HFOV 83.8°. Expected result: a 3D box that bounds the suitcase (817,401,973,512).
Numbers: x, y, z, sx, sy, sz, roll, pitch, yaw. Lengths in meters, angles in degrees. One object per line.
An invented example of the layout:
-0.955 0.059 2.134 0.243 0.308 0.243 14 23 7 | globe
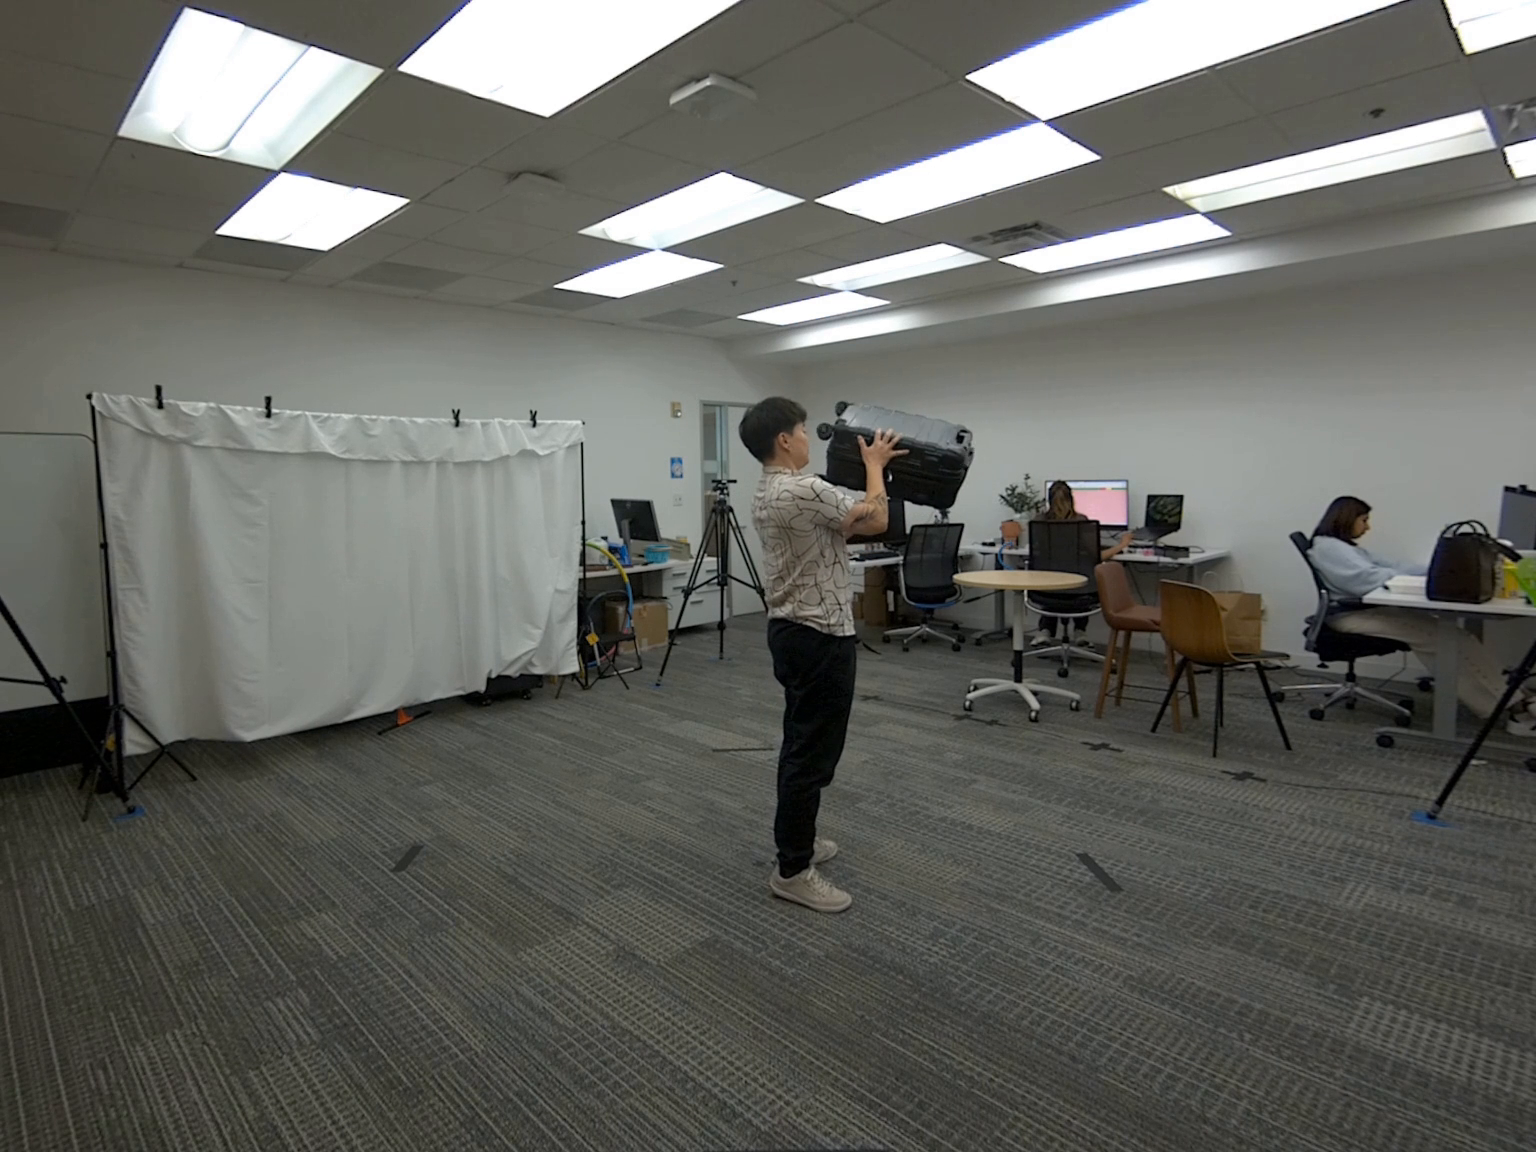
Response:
0.482 -0.461 3.211 0.558 0.243 0.377 13 29 14 | suitcase
